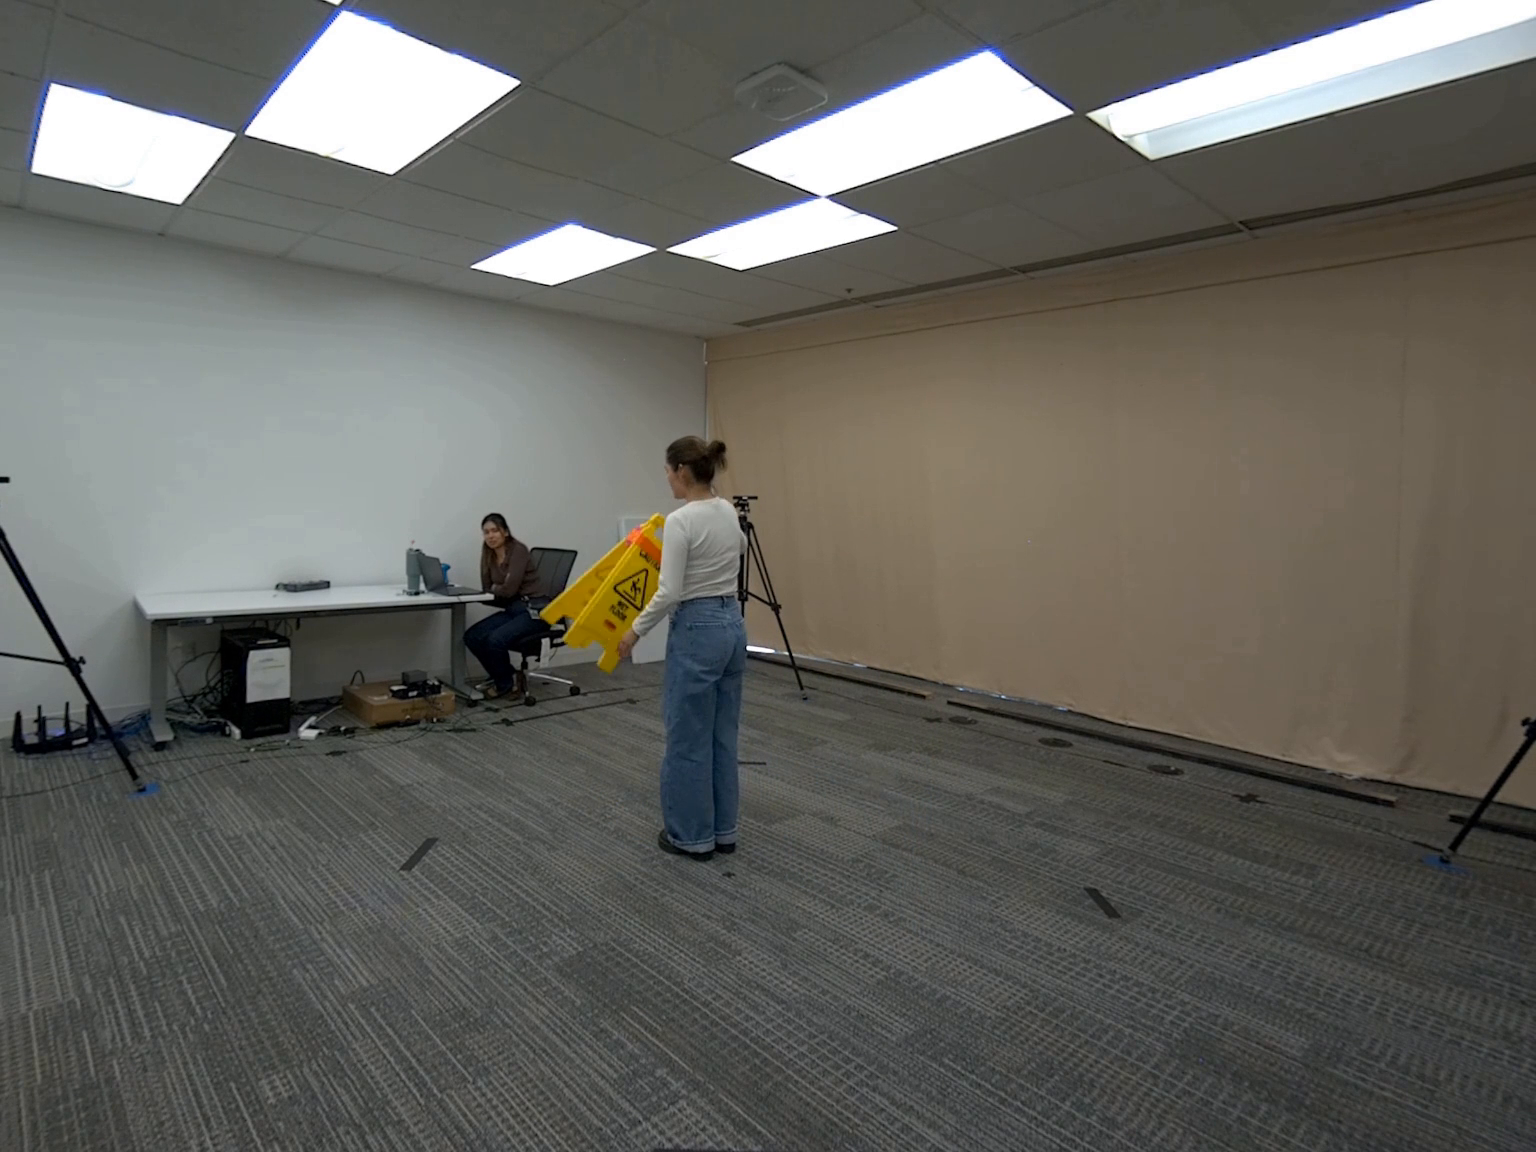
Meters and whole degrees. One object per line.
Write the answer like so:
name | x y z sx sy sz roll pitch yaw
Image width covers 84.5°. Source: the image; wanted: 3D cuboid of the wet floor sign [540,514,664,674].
wet floor sign | -0.611 0.044 3.539 0.298 0.646 0.273 27 -15 51
